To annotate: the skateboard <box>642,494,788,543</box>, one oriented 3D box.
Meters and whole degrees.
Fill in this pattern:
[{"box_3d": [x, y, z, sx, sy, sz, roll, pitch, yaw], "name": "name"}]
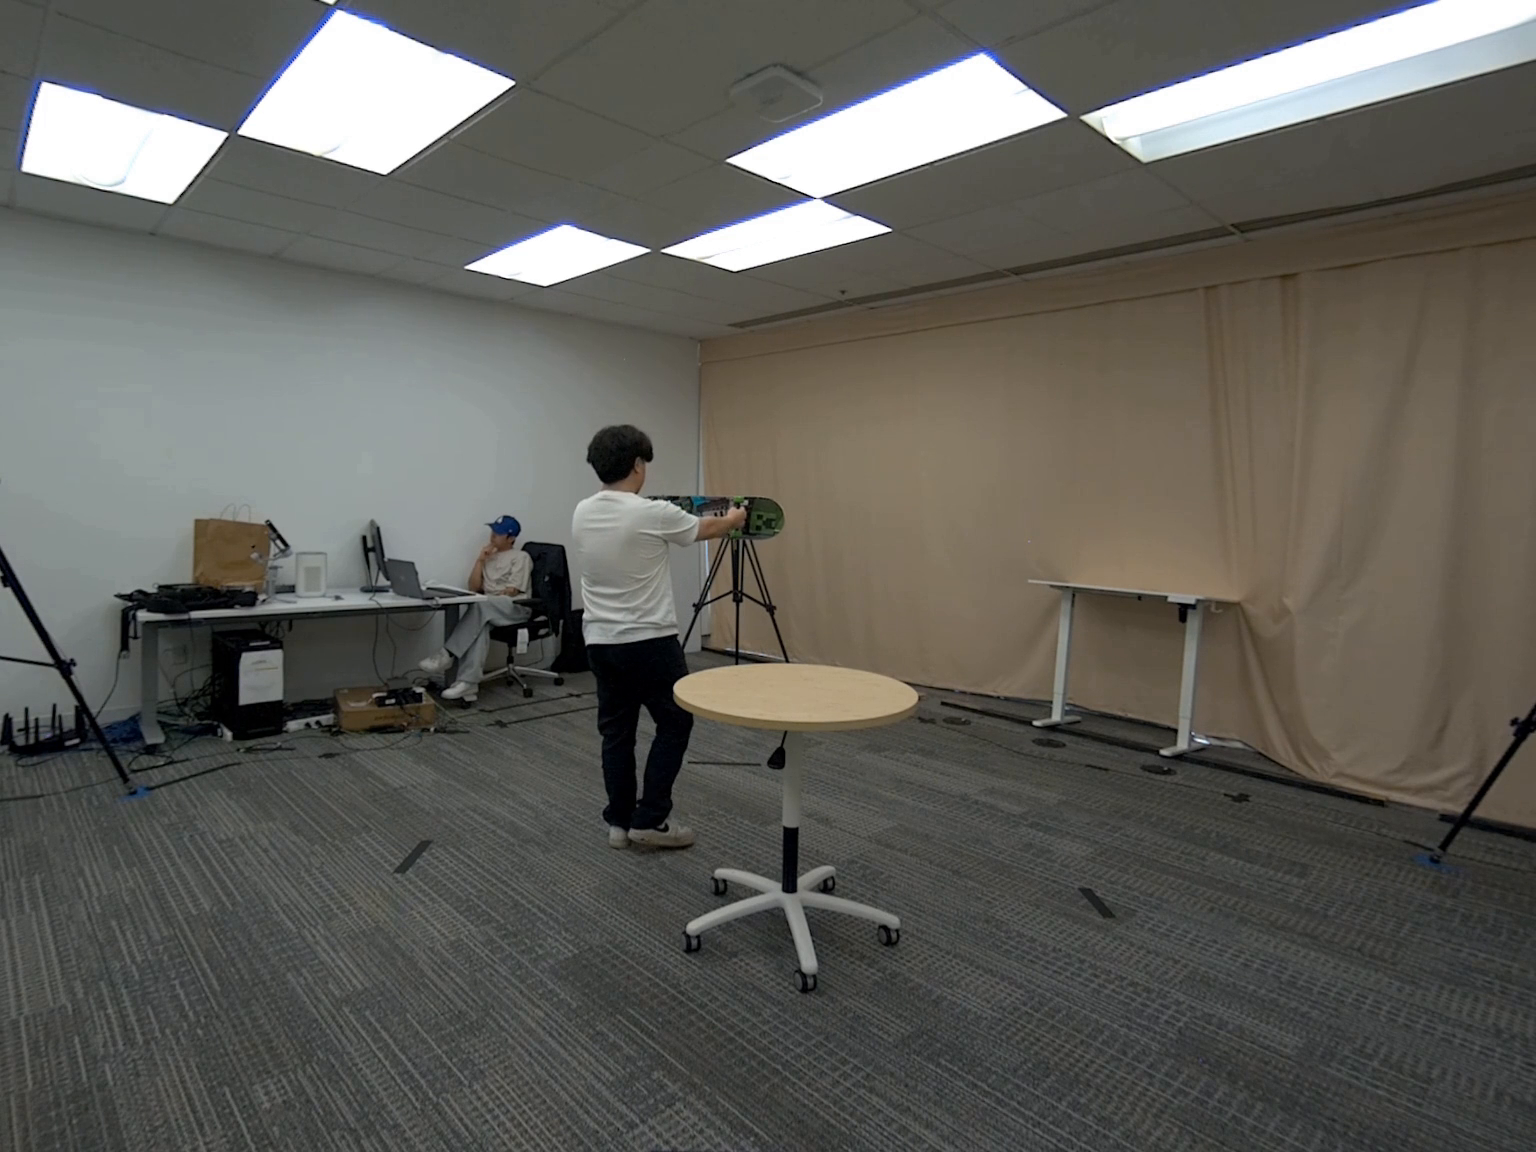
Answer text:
[{"box_3d": [-0.294, -0.268, 3.834, 0.802, 0.193, 0.108, 3, 0, 29], "name": "skateboard"}]
